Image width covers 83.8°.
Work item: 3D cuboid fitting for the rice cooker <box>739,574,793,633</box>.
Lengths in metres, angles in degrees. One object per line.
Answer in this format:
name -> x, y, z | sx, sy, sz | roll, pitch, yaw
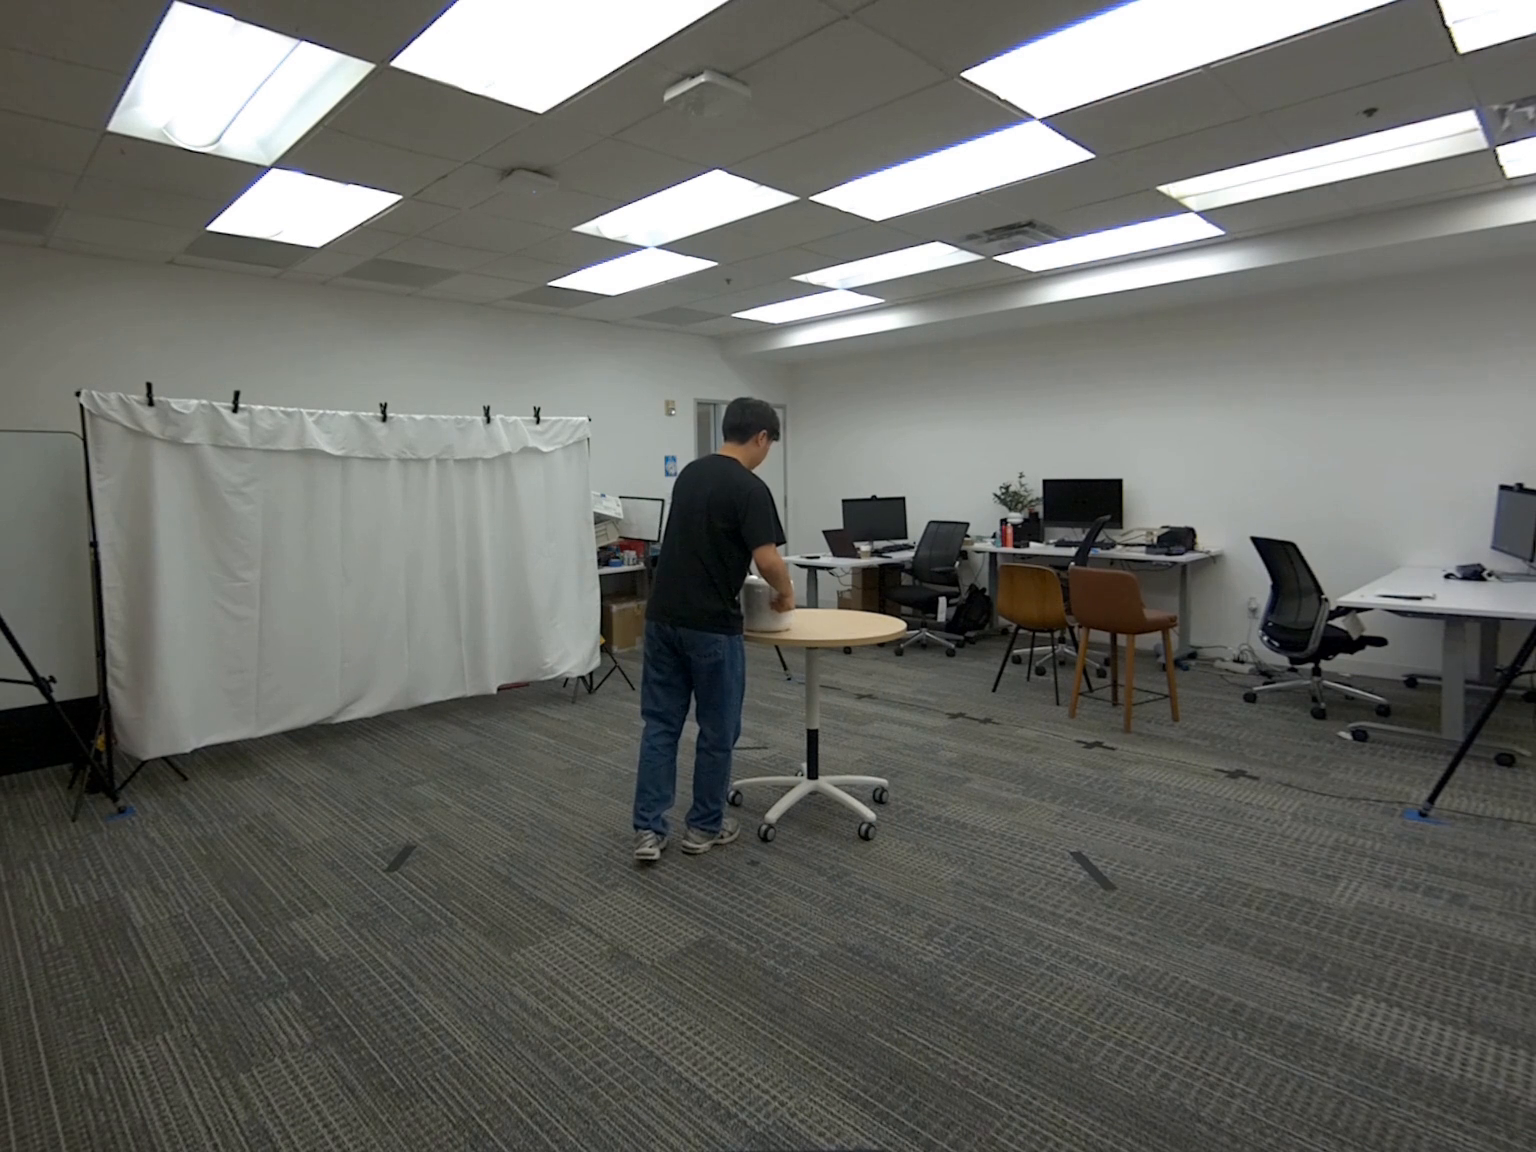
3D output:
rice cooker -> 0.002, 0.097, 3.390 | 0.214, 0.232, 0.225 | -3, 5, -18
